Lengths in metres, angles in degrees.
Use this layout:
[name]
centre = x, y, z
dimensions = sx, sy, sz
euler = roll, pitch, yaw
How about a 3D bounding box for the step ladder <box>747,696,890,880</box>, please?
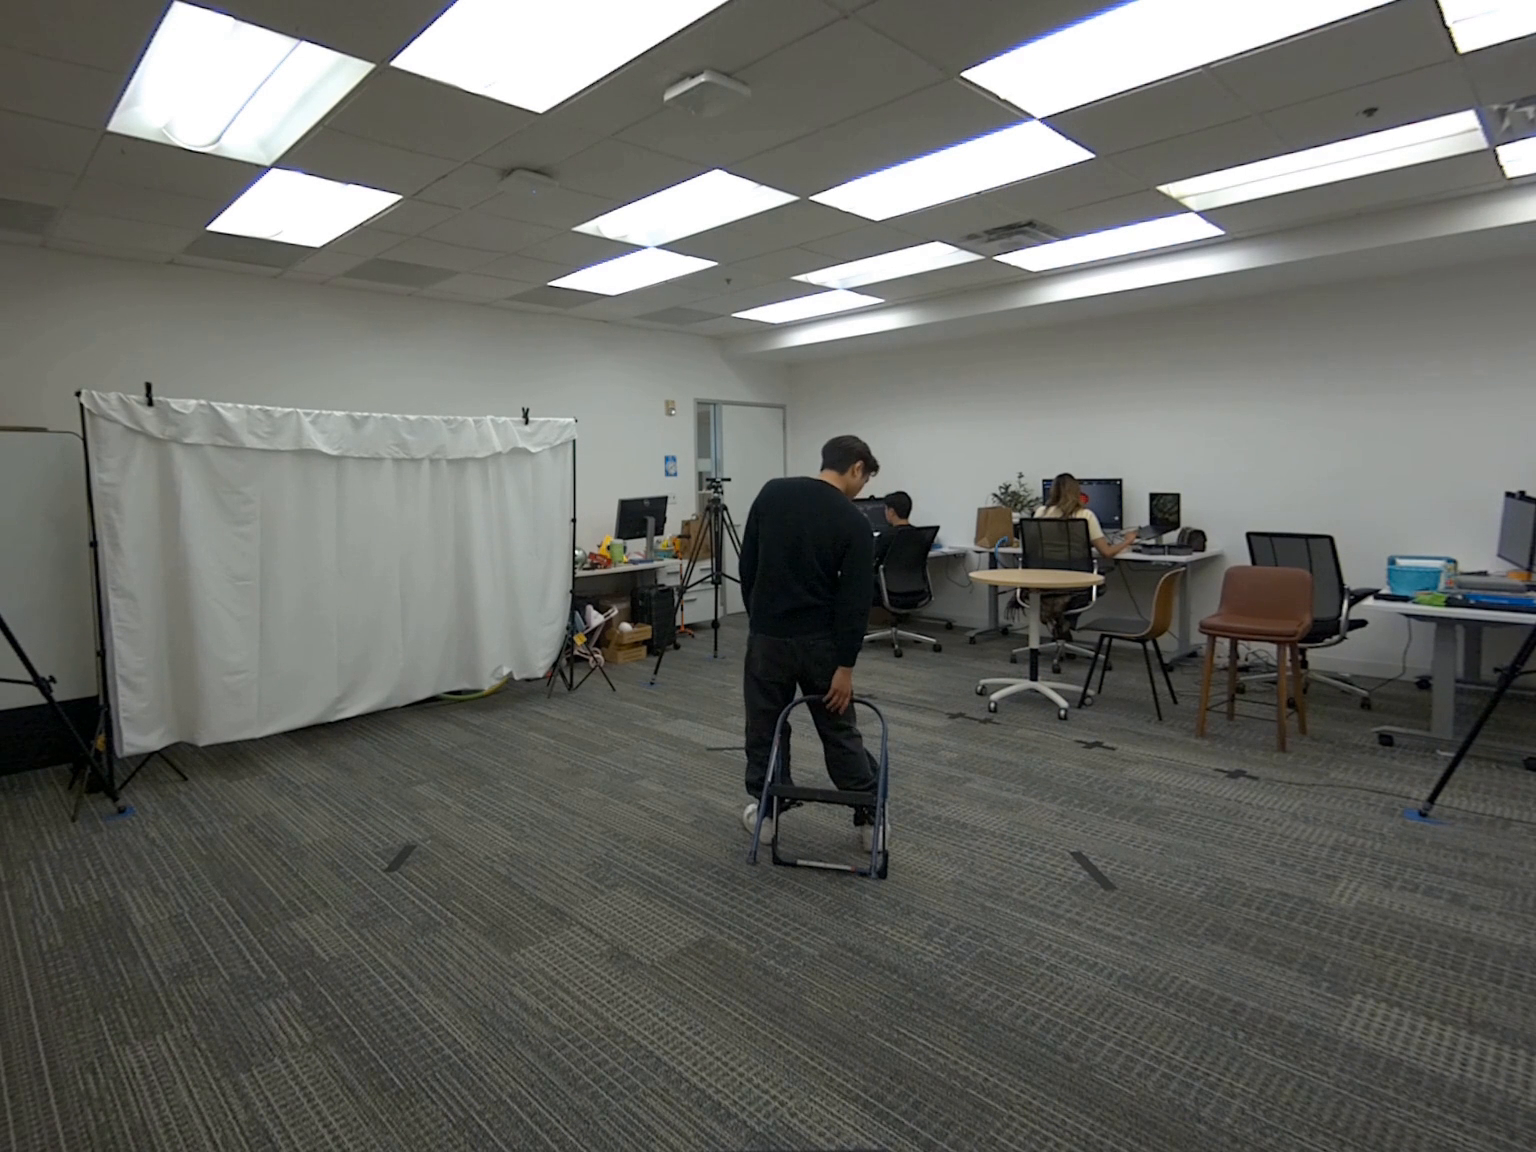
[step ladder]
centre = 0.207, 0.717, 2.988
dimensions = 0.438, 0.615, 0.338
euler = 0, -20, 16
